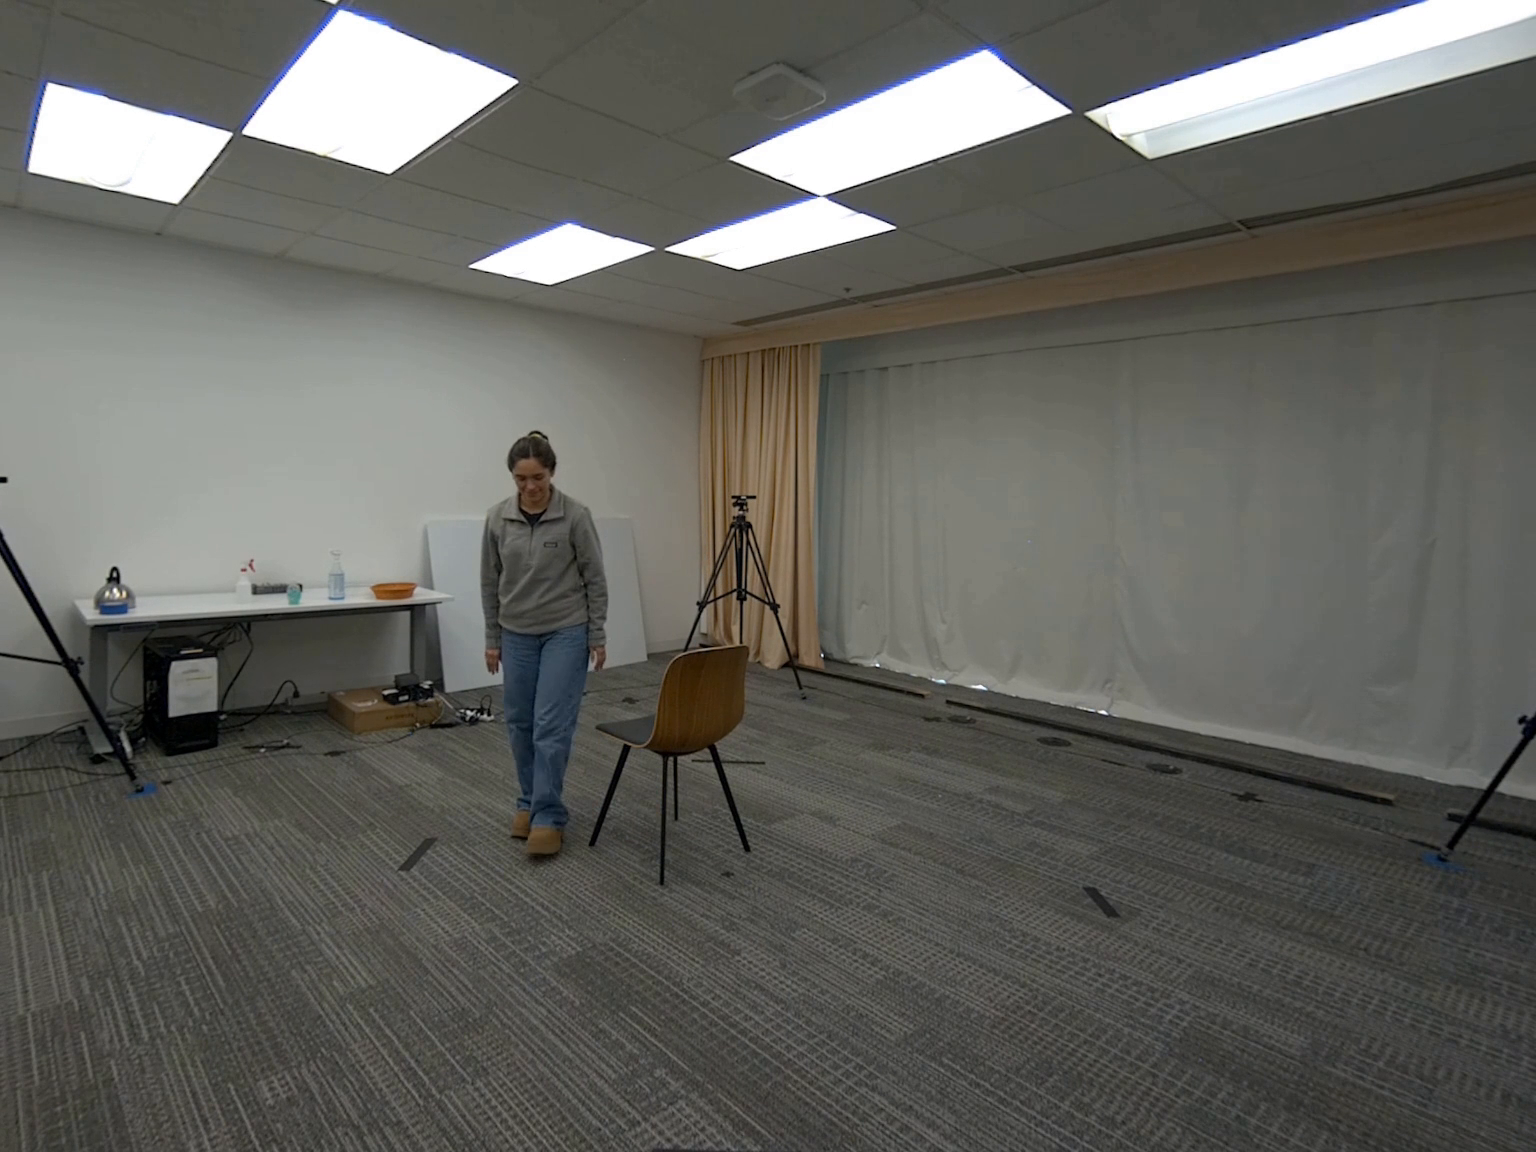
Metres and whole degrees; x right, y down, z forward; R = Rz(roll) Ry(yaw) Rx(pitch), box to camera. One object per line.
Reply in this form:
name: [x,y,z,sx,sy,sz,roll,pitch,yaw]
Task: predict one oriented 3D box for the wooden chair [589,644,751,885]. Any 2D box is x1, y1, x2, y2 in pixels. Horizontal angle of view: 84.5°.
wooden chair: [-0.383,0.653,3.288,0.467,0.873,0.537,-2,9,-44]
